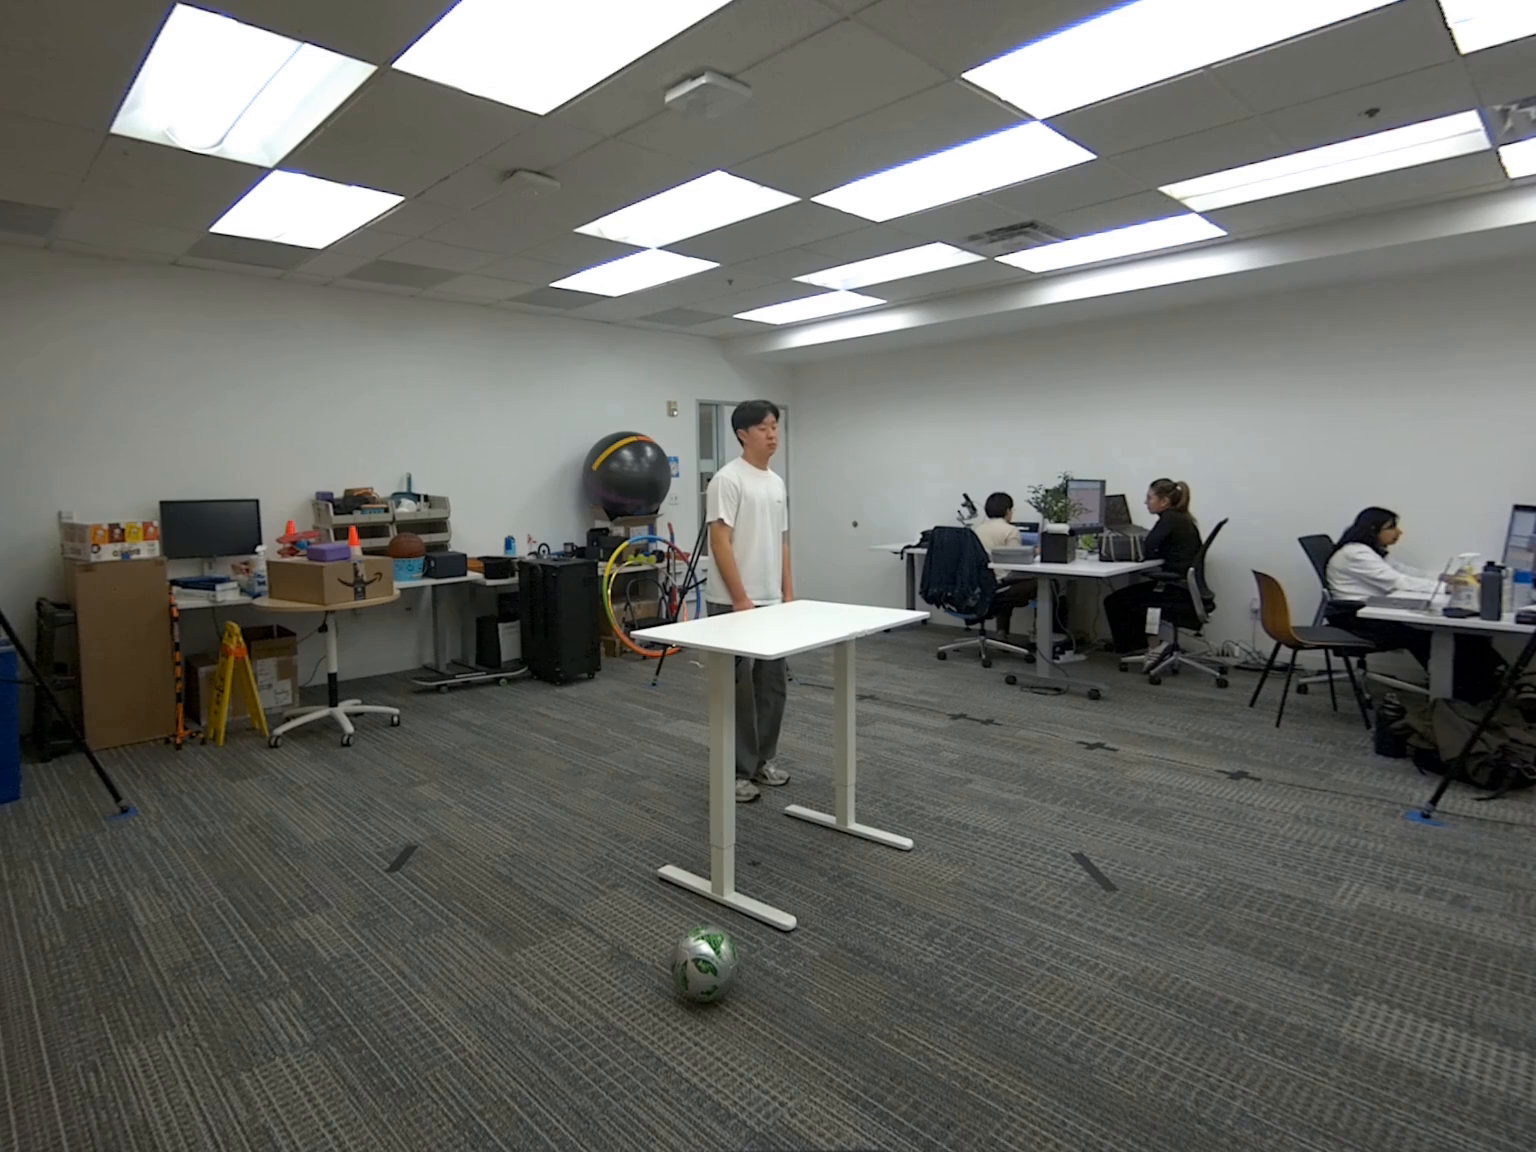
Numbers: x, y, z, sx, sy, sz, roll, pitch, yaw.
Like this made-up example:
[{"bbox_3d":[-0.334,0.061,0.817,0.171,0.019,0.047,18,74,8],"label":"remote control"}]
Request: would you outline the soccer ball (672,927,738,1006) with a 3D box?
[{"bbox_3d":[-0.164,1.057,2.320,0.187,0.187,0.188,-1,5,-2],"label":"soccer ball"}]
